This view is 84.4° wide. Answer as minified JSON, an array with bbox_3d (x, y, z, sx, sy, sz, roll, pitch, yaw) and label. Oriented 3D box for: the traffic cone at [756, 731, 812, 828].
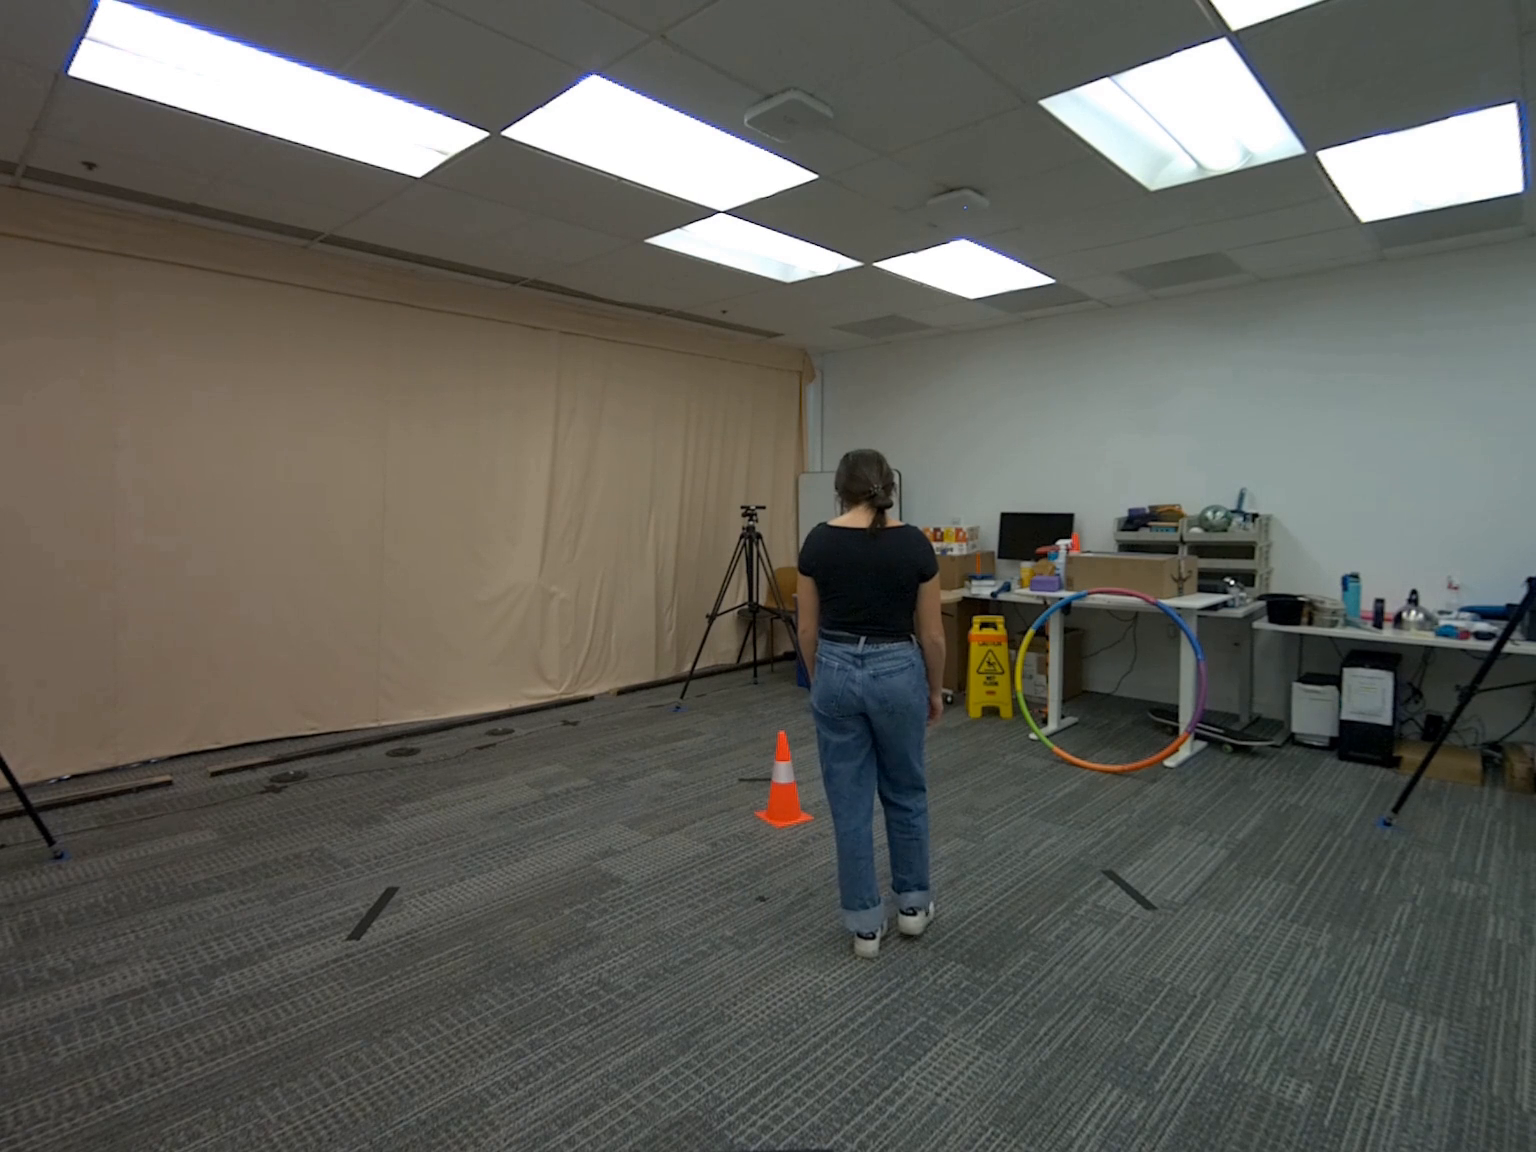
[{"bbox_3d":[0.078,0.893,3.773,0.199,0.383,0.209,-1,5,-32],"label":"traffic cone"}]
